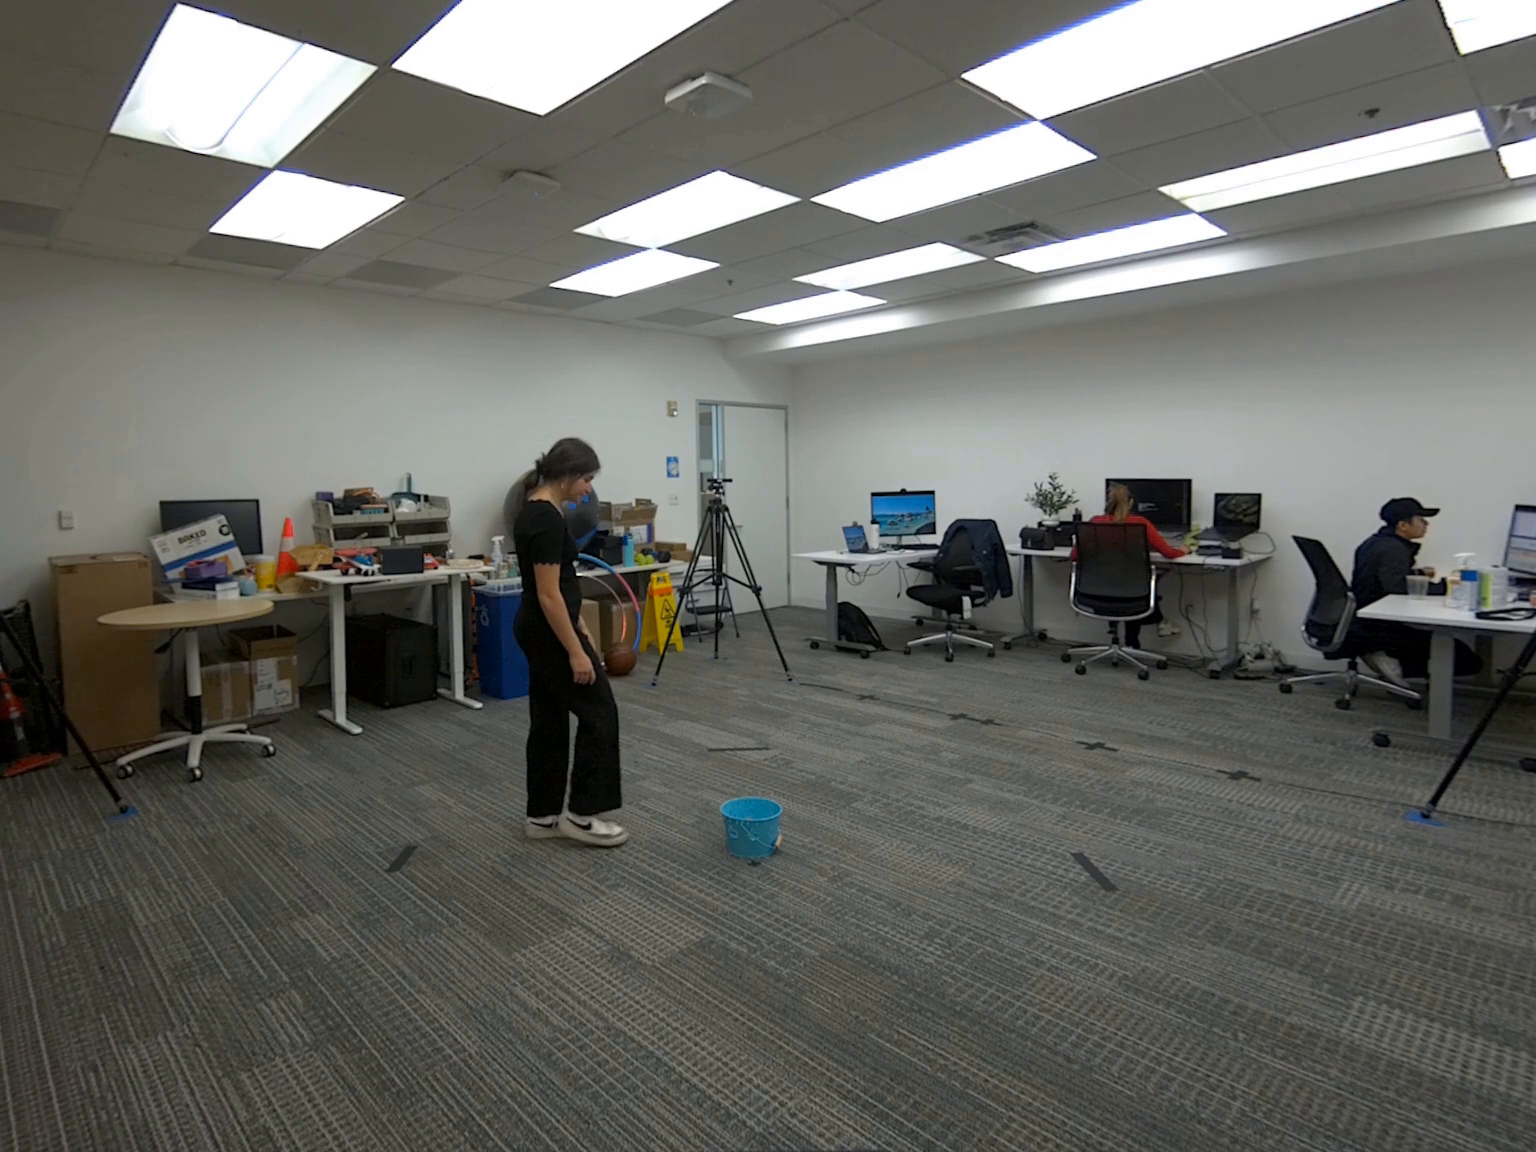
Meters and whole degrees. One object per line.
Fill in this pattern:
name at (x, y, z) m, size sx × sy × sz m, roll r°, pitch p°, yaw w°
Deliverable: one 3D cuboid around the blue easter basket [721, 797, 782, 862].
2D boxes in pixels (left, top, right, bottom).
blue easter basket at (-0.059, 0.950, 3.226) m, size 0.243 × 0.155 × 0.244 m, roll -1°, pitch 4°, yaw -2°
